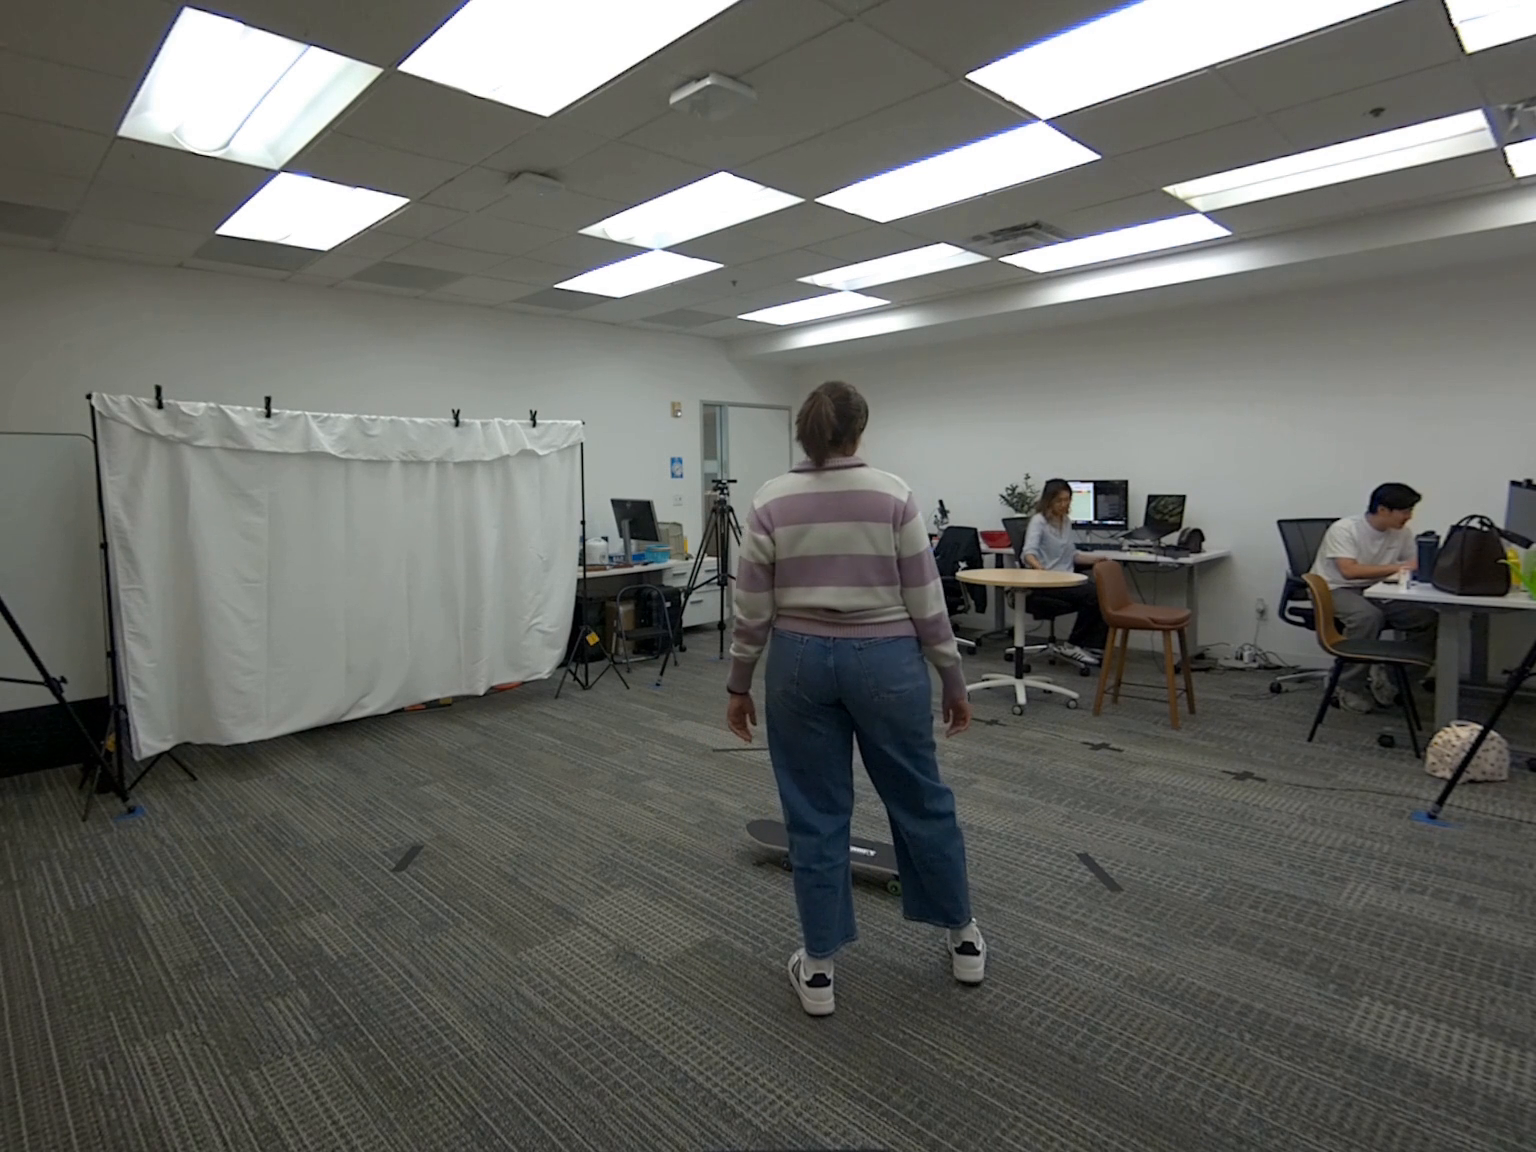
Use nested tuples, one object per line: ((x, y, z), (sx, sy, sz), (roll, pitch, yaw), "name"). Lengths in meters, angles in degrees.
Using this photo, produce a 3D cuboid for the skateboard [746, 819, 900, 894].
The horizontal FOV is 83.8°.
((0.289, 0.998, 3.019), (0.805, 0.110, 0.189), (2, 7, 28), "skateboard")
